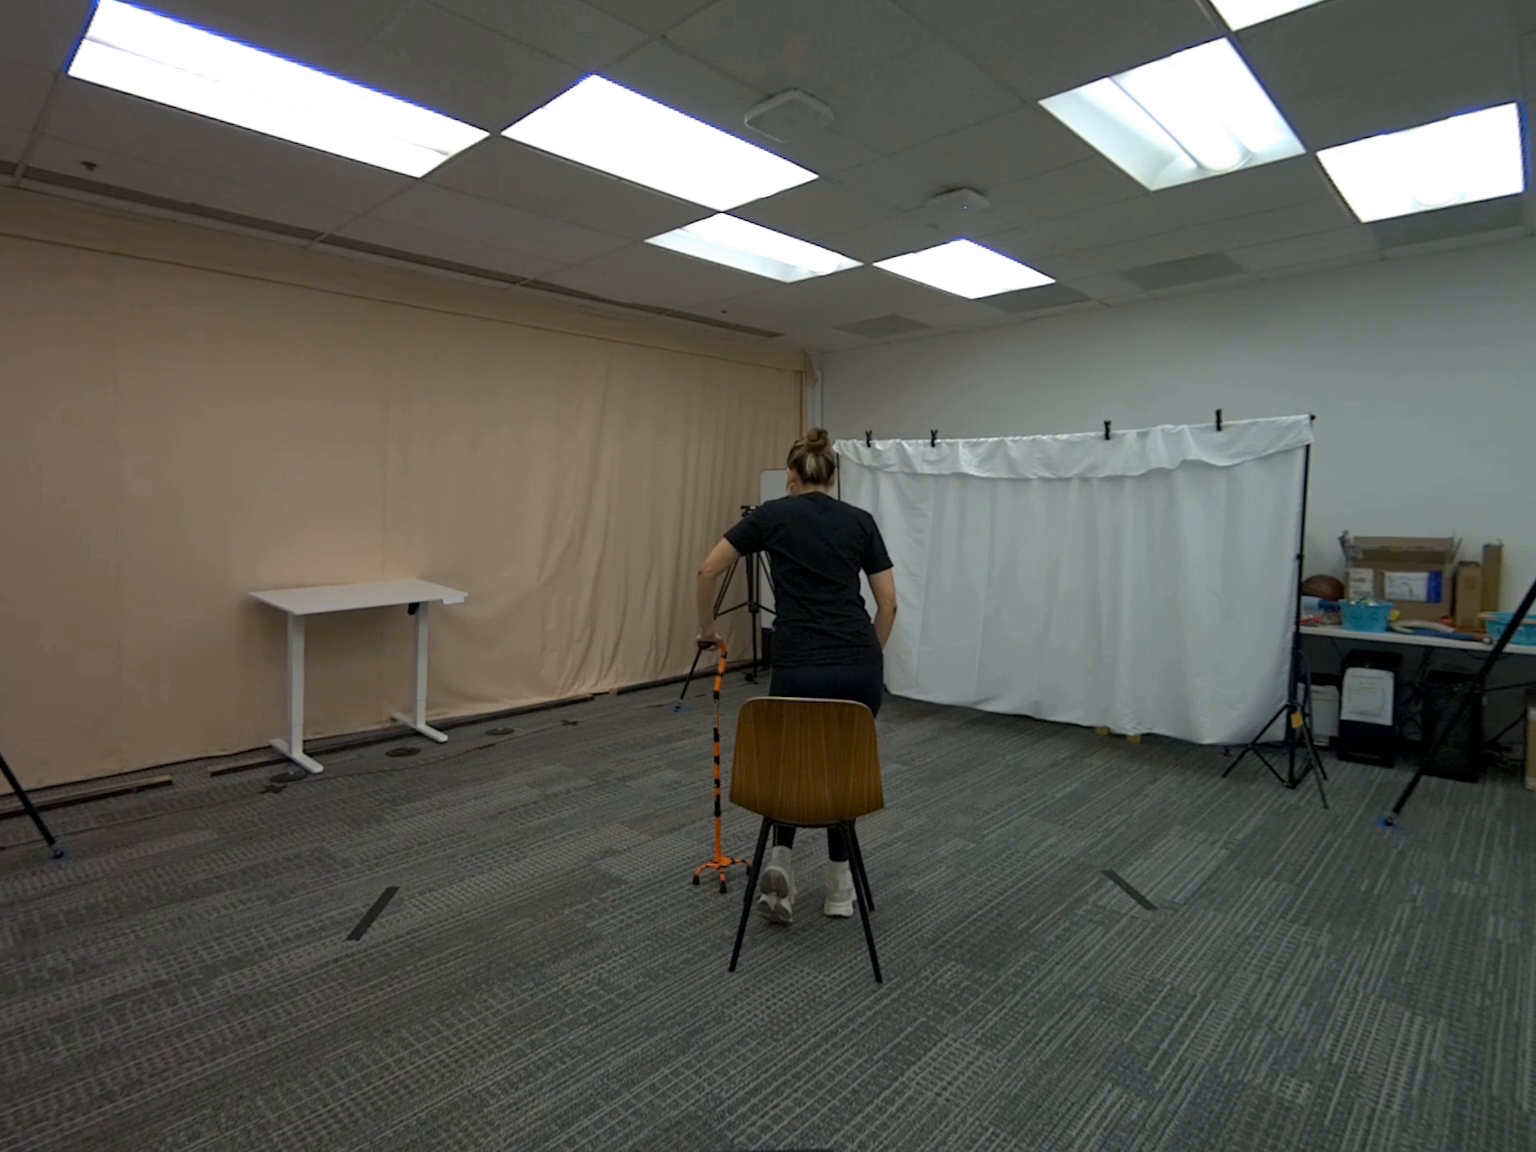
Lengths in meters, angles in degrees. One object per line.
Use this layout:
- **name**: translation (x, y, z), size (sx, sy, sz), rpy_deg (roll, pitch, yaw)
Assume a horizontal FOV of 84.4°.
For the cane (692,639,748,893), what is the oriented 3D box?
- **cane**: translation (-0.174, 0.683, 3.120), size (0.156, 0.906, 0.200), rpy_deg (1, 4, 34)
